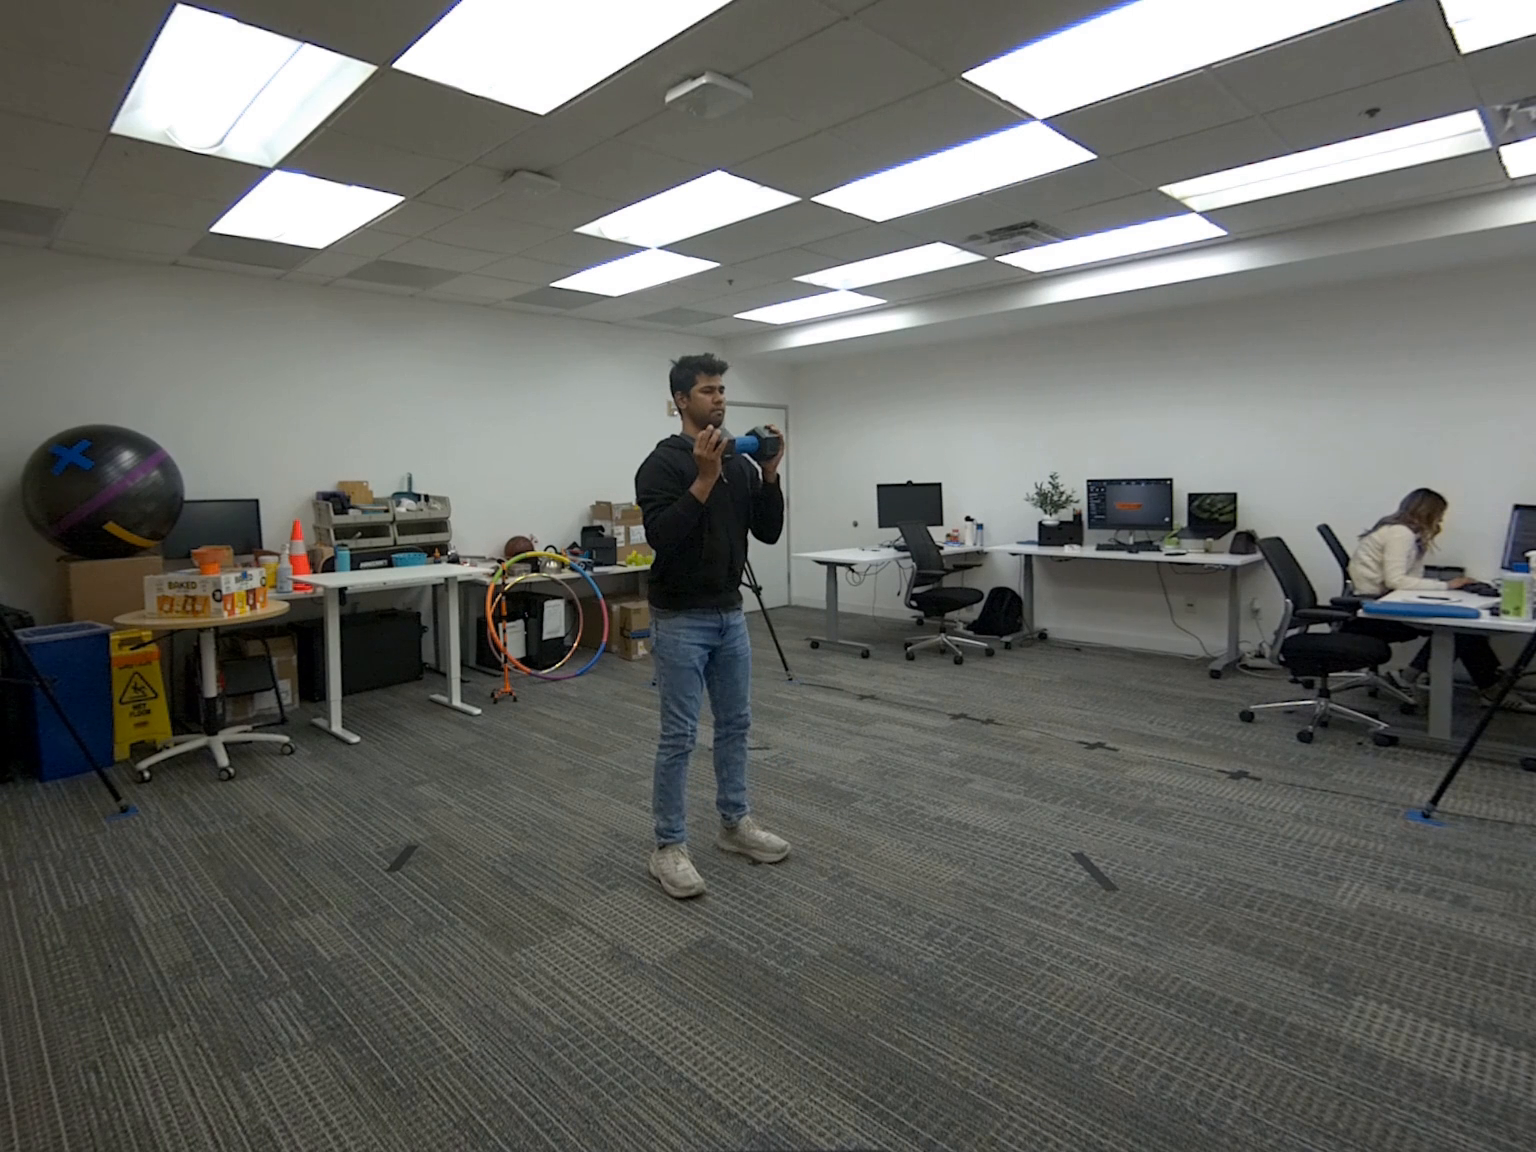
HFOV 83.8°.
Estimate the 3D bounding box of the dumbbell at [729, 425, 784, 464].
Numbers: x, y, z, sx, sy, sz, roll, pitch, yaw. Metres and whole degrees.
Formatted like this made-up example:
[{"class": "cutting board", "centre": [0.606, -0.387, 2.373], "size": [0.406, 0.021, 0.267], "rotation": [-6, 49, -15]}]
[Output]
[{"class": "dumbbell", "centre": [-0.101, -0.429, 2.892], "size": [0.287, 0.122, 0.112], "rotation": [-12, 17, -43]}]
